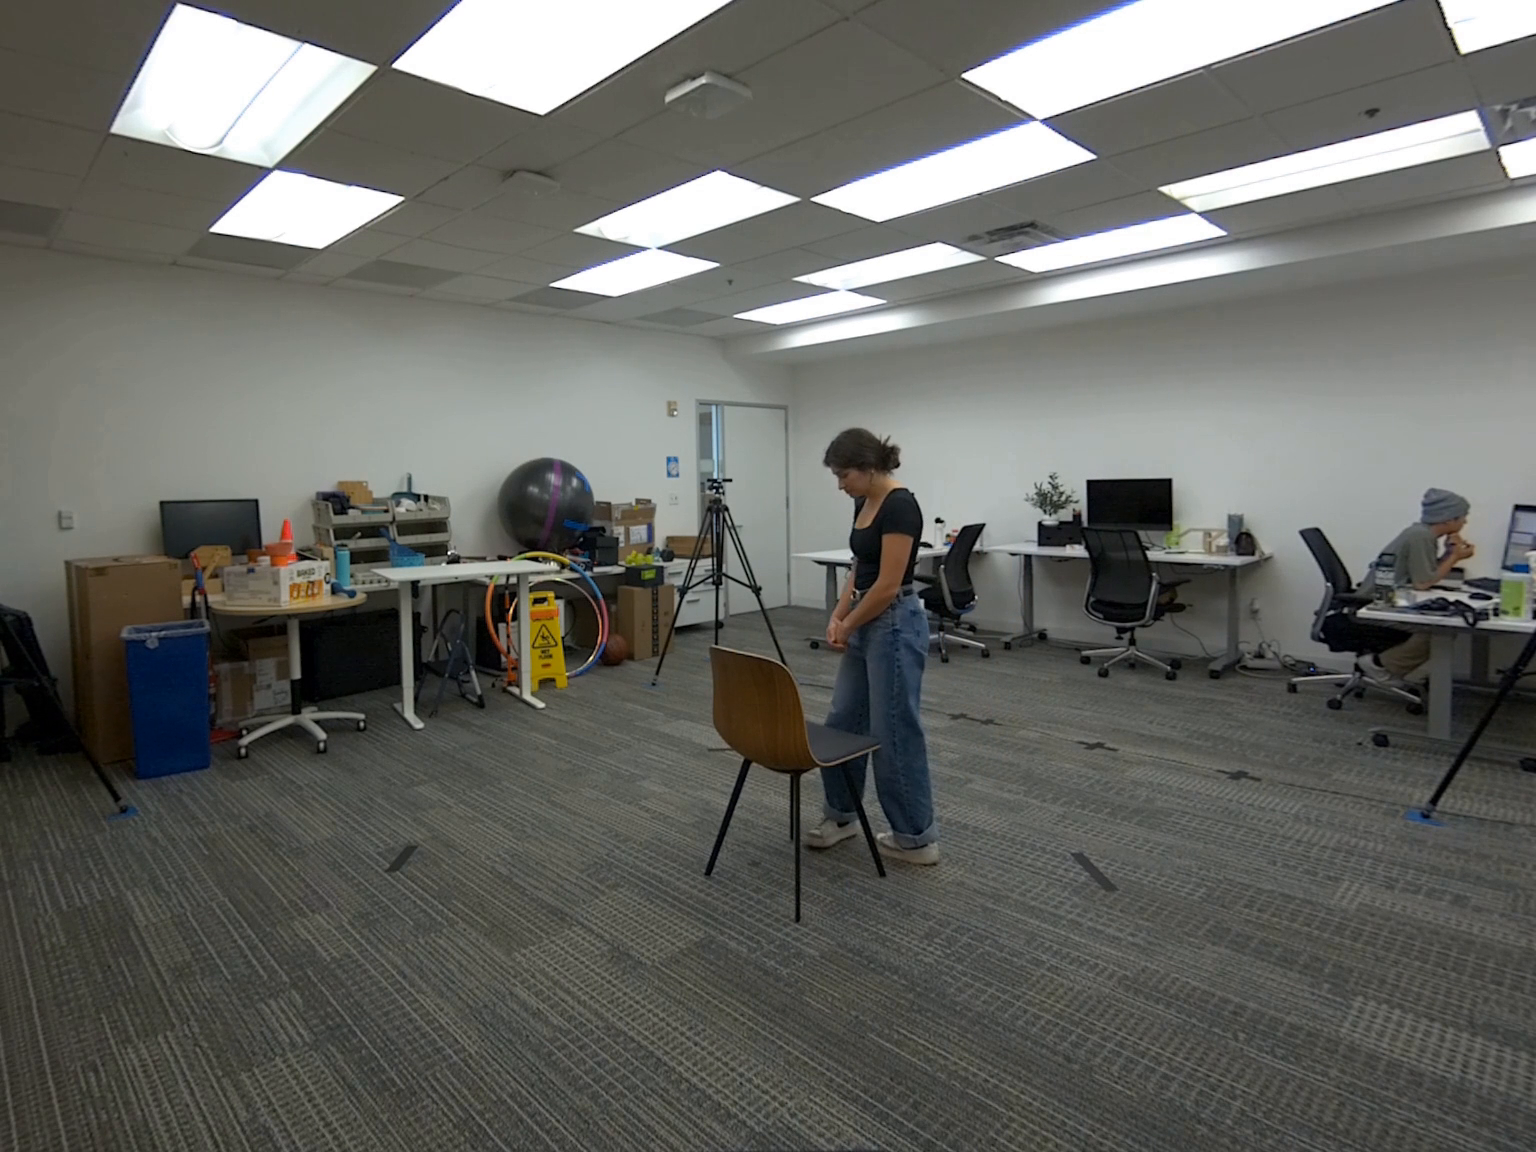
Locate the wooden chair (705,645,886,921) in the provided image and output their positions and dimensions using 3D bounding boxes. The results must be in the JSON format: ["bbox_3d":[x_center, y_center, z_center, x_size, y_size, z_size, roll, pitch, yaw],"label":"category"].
[{"bbox_3d":[0.092,0.634,2.967,0.511,0.872,0.493,-10,10,-43],"label":"wooden chair"}]
